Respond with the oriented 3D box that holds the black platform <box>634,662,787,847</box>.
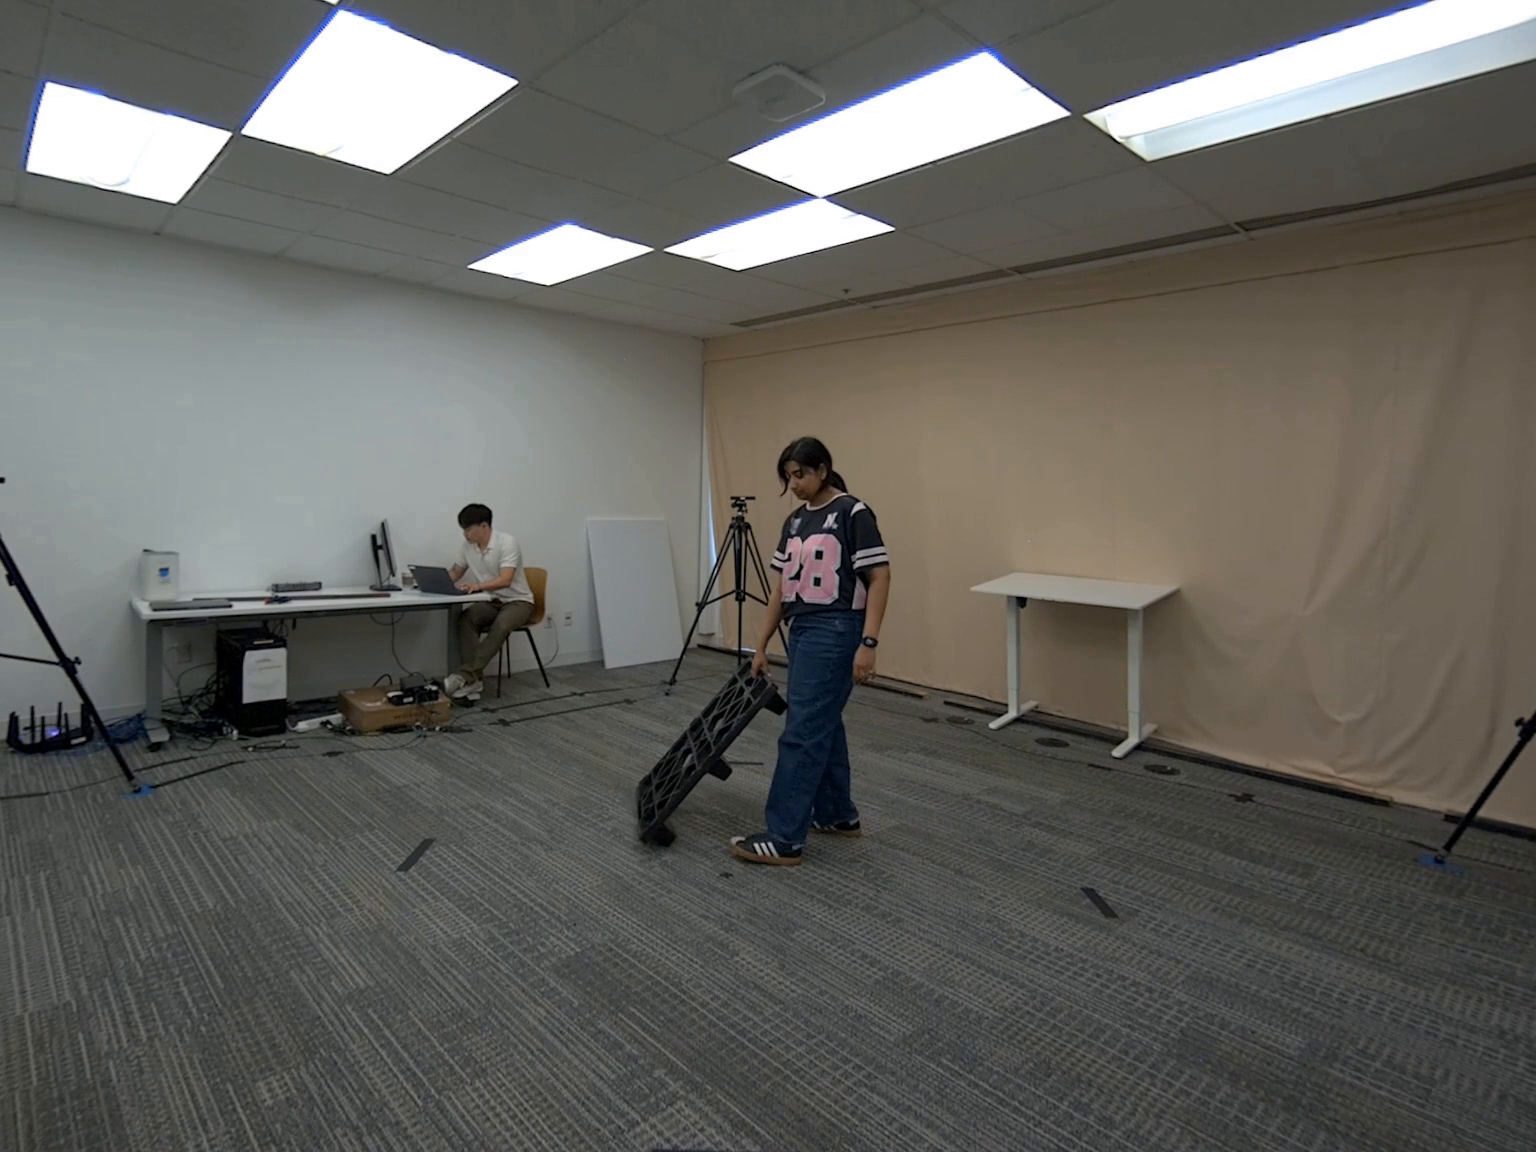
[{"bbox_3d":[-0.248,0.734,3.577,0.142,0.805,0.611,40,-1,-10],"label":"black platform"}]
